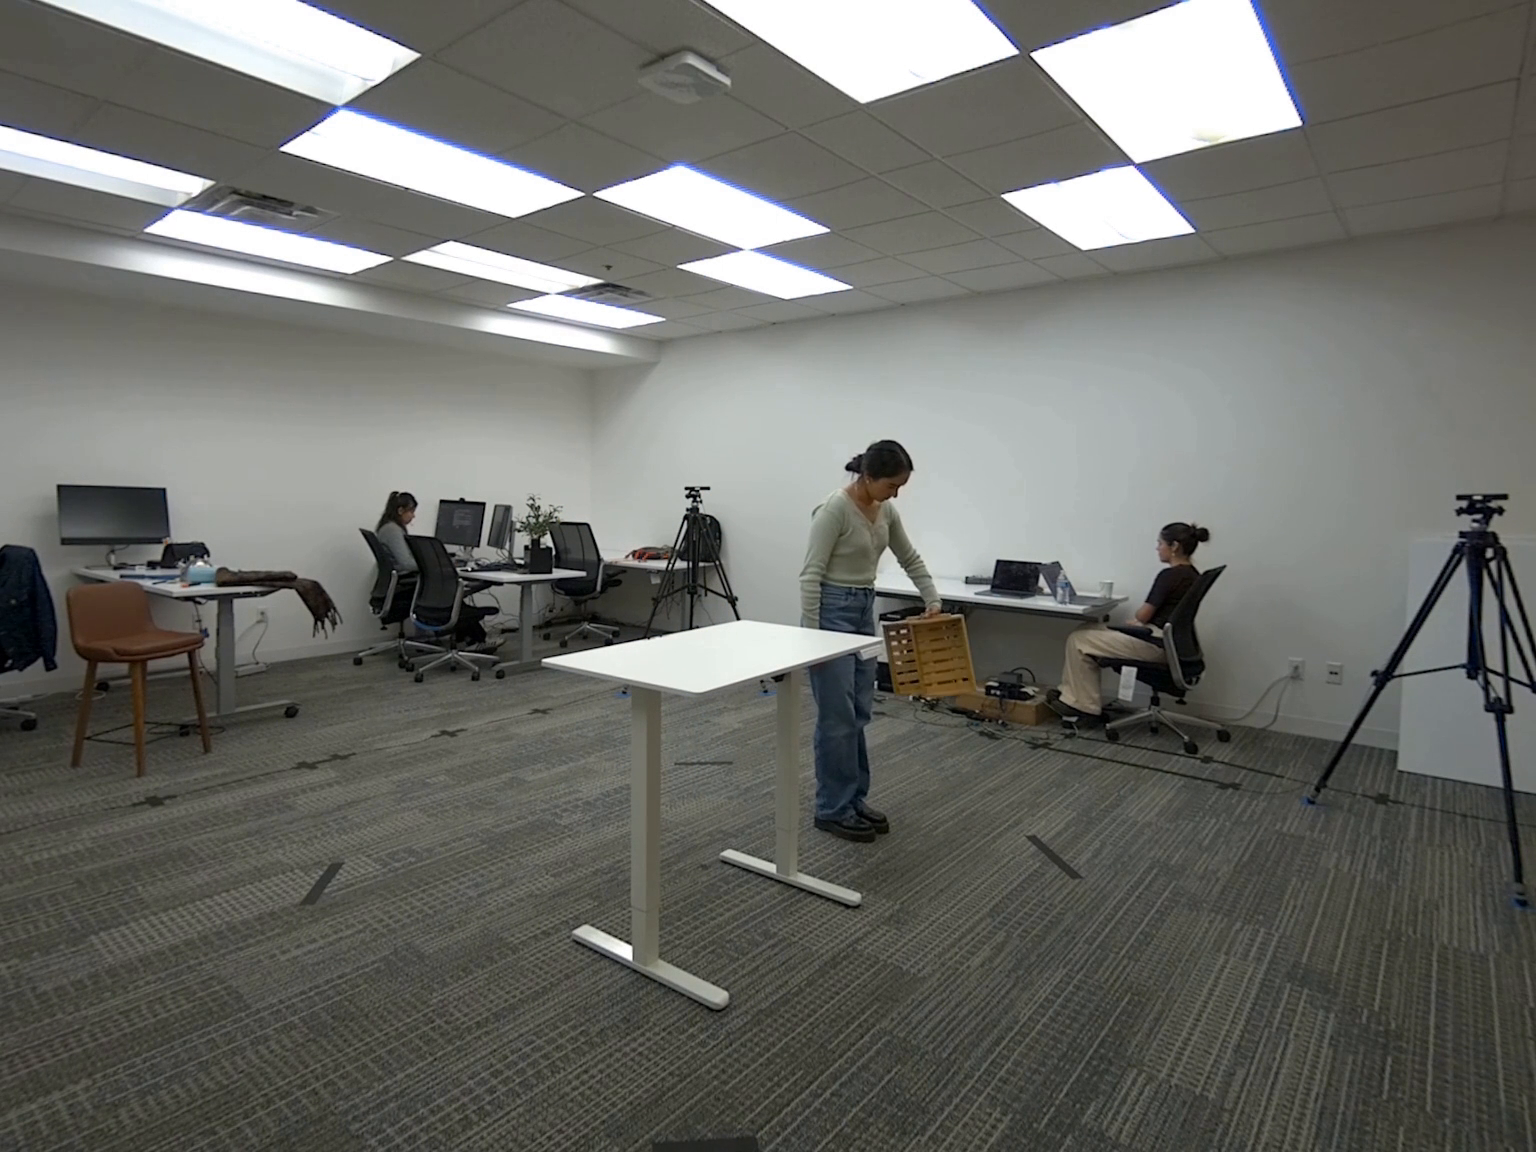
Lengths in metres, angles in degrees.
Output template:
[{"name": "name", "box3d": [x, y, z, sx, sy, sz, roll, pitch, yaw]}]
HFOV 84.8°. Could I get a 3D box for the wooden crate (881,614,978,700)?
[{"name": "wooden crate", "box3d": [0.638, 0.322, 3.464, 0.303, 0.326, 0.271, -10, -4, 4]}]
